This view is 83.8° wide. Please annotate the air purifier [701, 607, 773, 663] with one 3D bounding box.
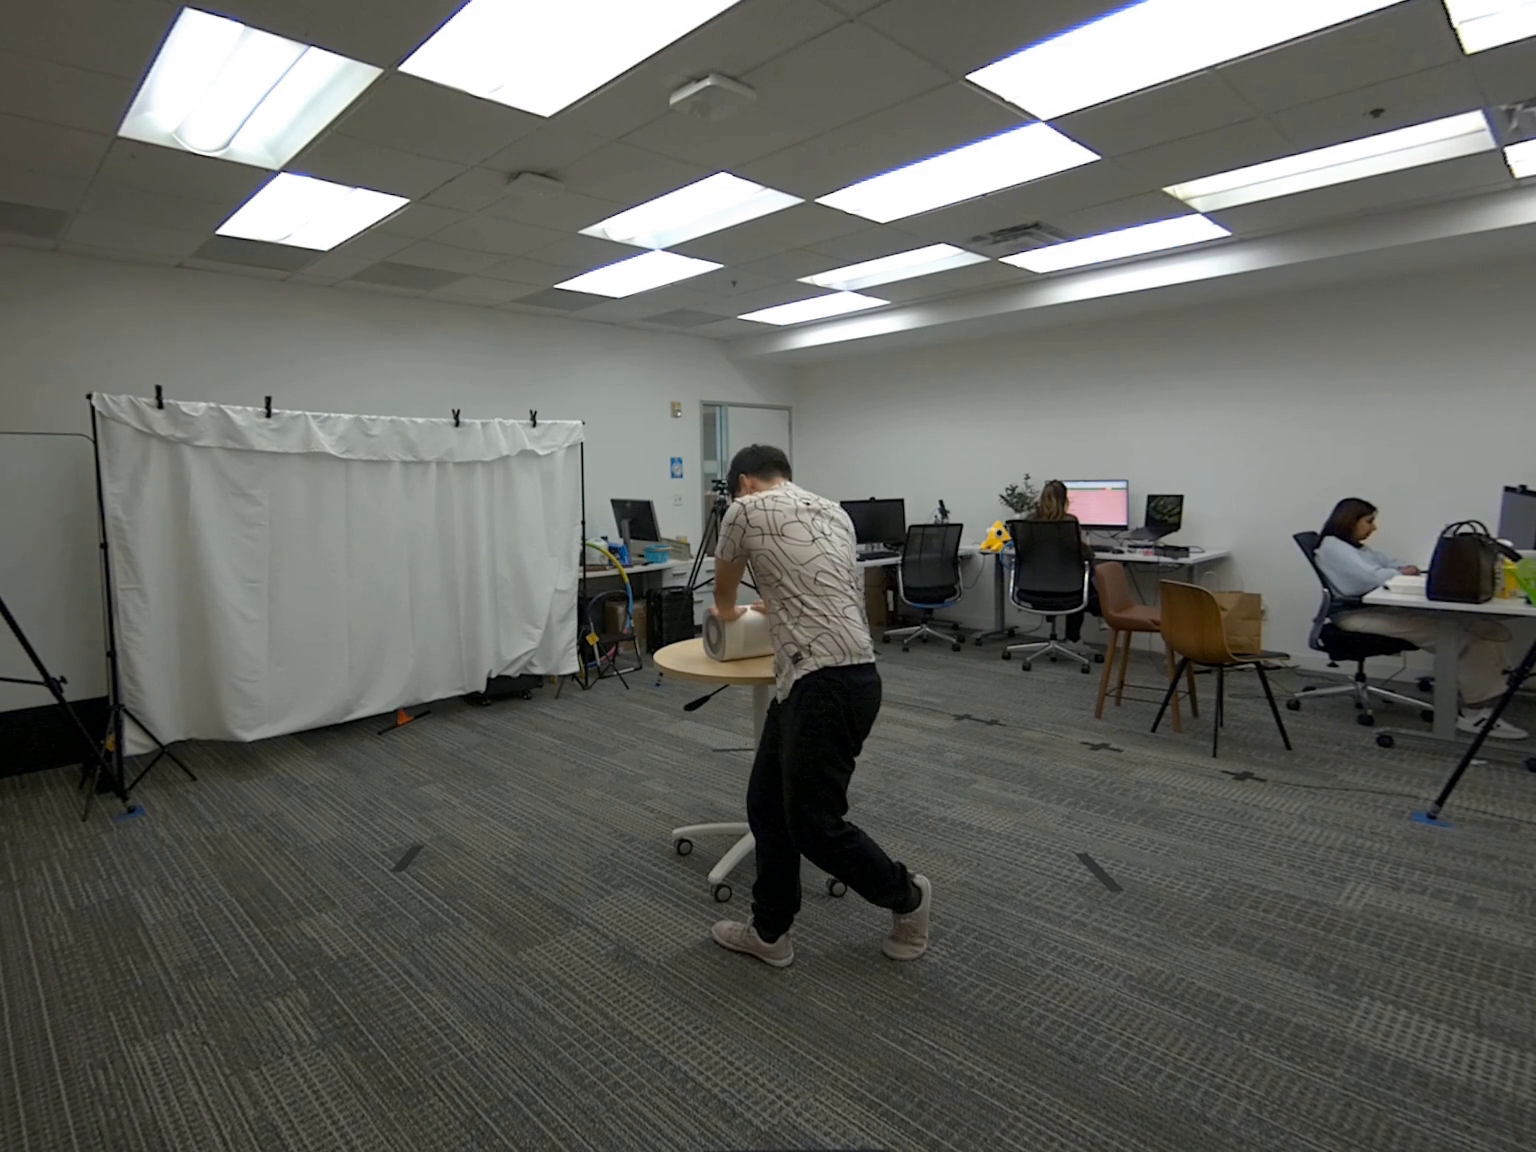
[{"bbox_3d":[-0.075,0.193,3.024,0.260,0.170,0.176,-4,10,-27],"label":"air purifier"}]
